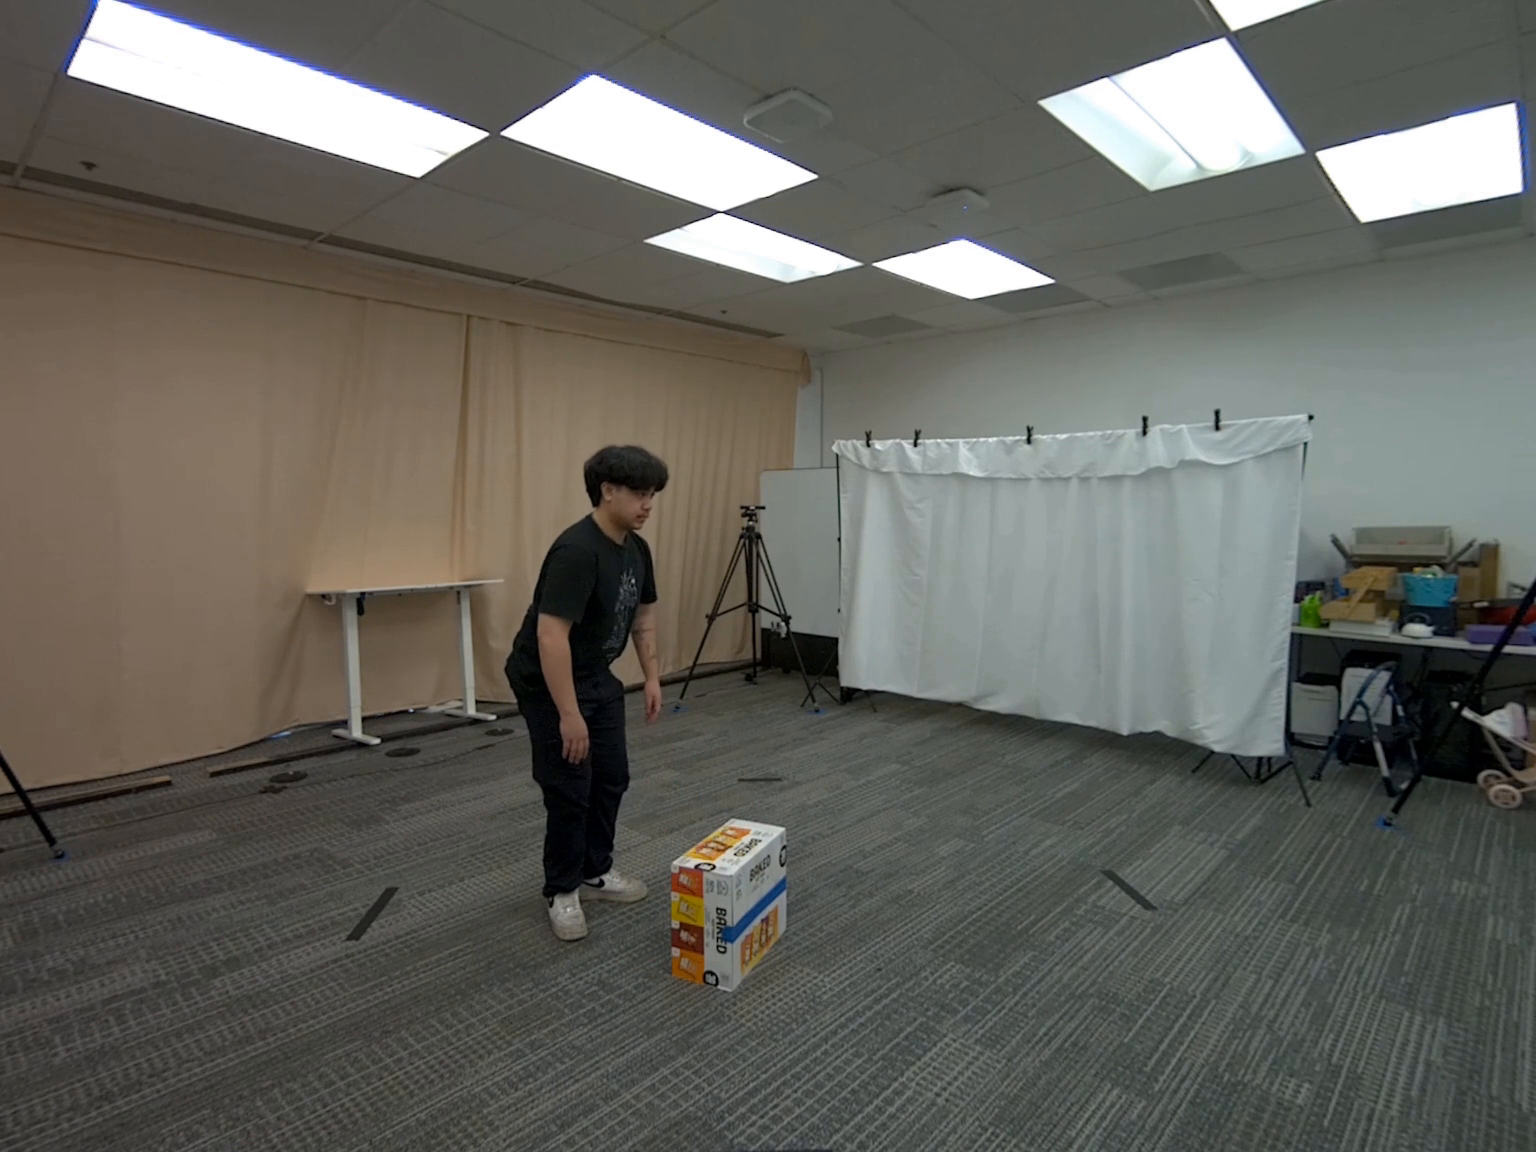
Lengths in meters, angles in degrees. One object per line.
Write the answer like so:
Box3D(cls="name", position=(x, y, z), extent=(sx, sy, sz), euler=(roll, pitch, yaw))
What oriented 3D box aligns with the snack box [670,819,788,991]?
Box3D(cls="snack box", position=(-0.110, 1.005, 2.621), extent=(0.211, 0.340, 0.395), euler=(1, 3, 25))
